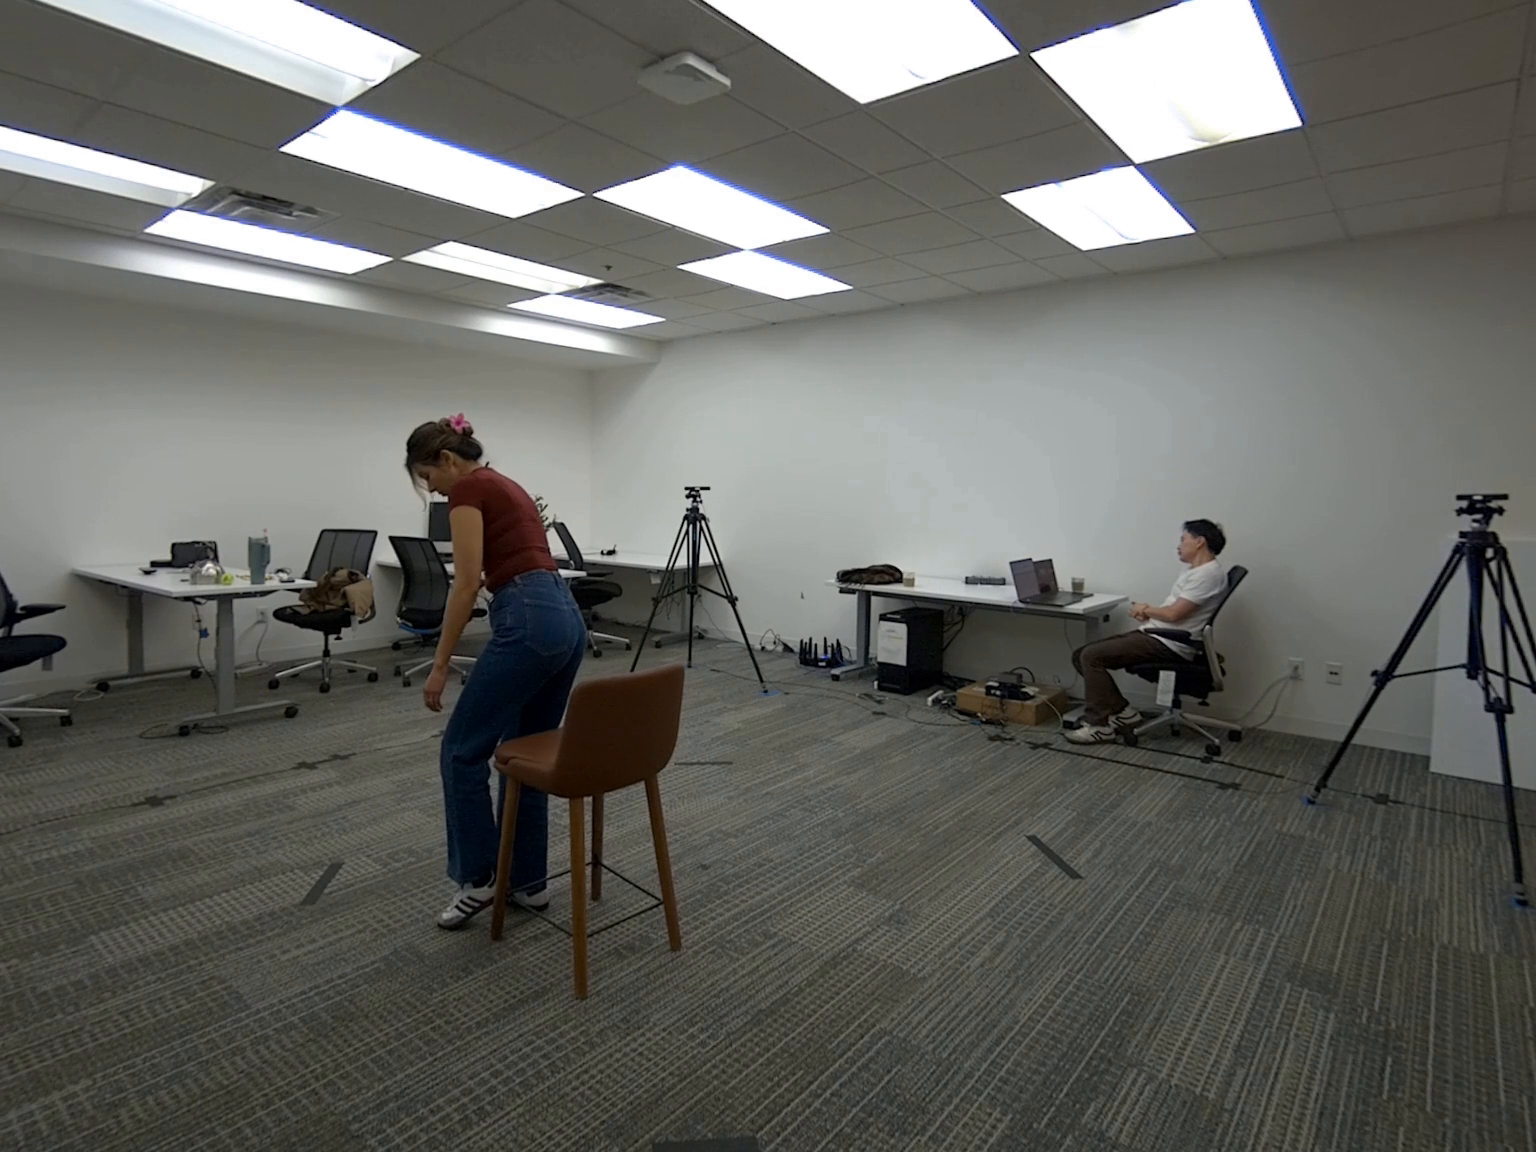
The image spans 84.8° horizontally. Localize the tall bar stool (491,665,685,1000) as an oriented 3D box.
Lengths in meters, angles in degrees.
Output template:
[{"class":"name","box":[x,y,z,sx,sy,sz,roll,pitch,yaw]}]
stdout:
[{"class":"tall bar stool","box":[-0.548,0.683,2.553,0.484,0.886,0.443,6,7,44]}]
